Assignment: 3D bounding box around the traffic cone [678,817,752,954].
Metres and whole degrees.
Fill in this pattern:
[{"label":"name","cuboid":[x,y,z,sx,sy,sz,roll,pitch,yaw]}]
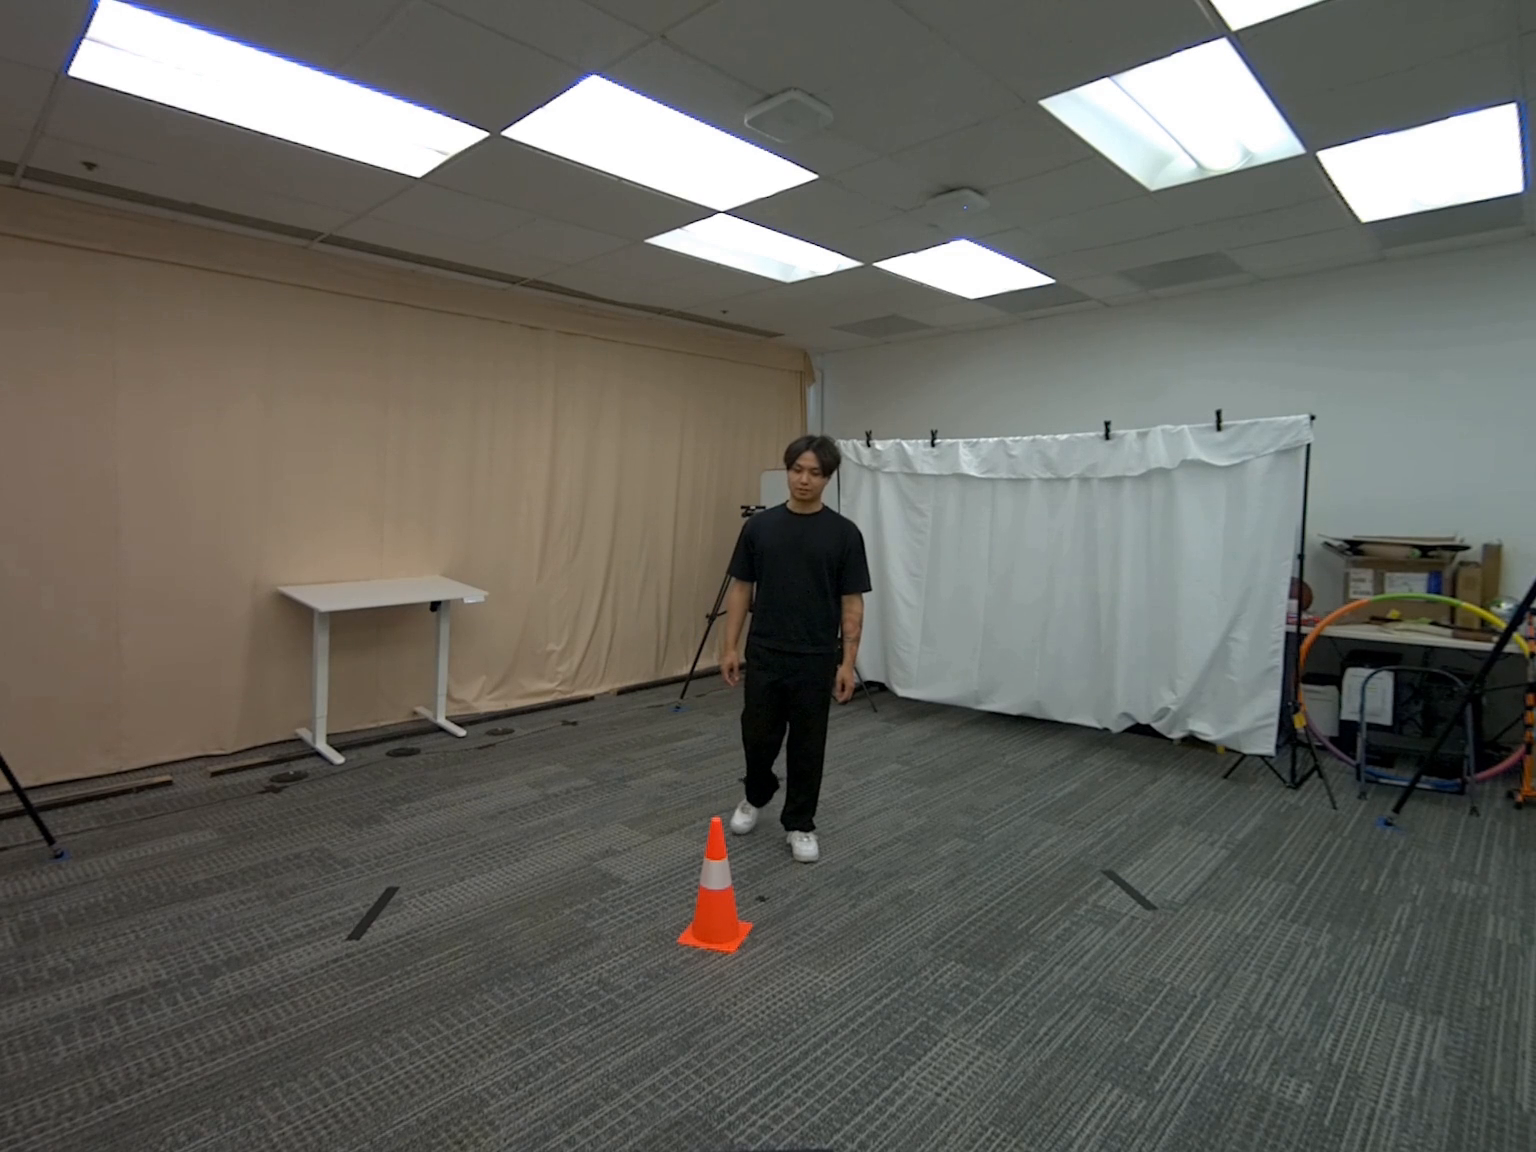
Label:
[{"label":"traffic cone","cuboid":[-0.170,0.978,2.738,0.210,0.383,0.199,0,2,22]}]
